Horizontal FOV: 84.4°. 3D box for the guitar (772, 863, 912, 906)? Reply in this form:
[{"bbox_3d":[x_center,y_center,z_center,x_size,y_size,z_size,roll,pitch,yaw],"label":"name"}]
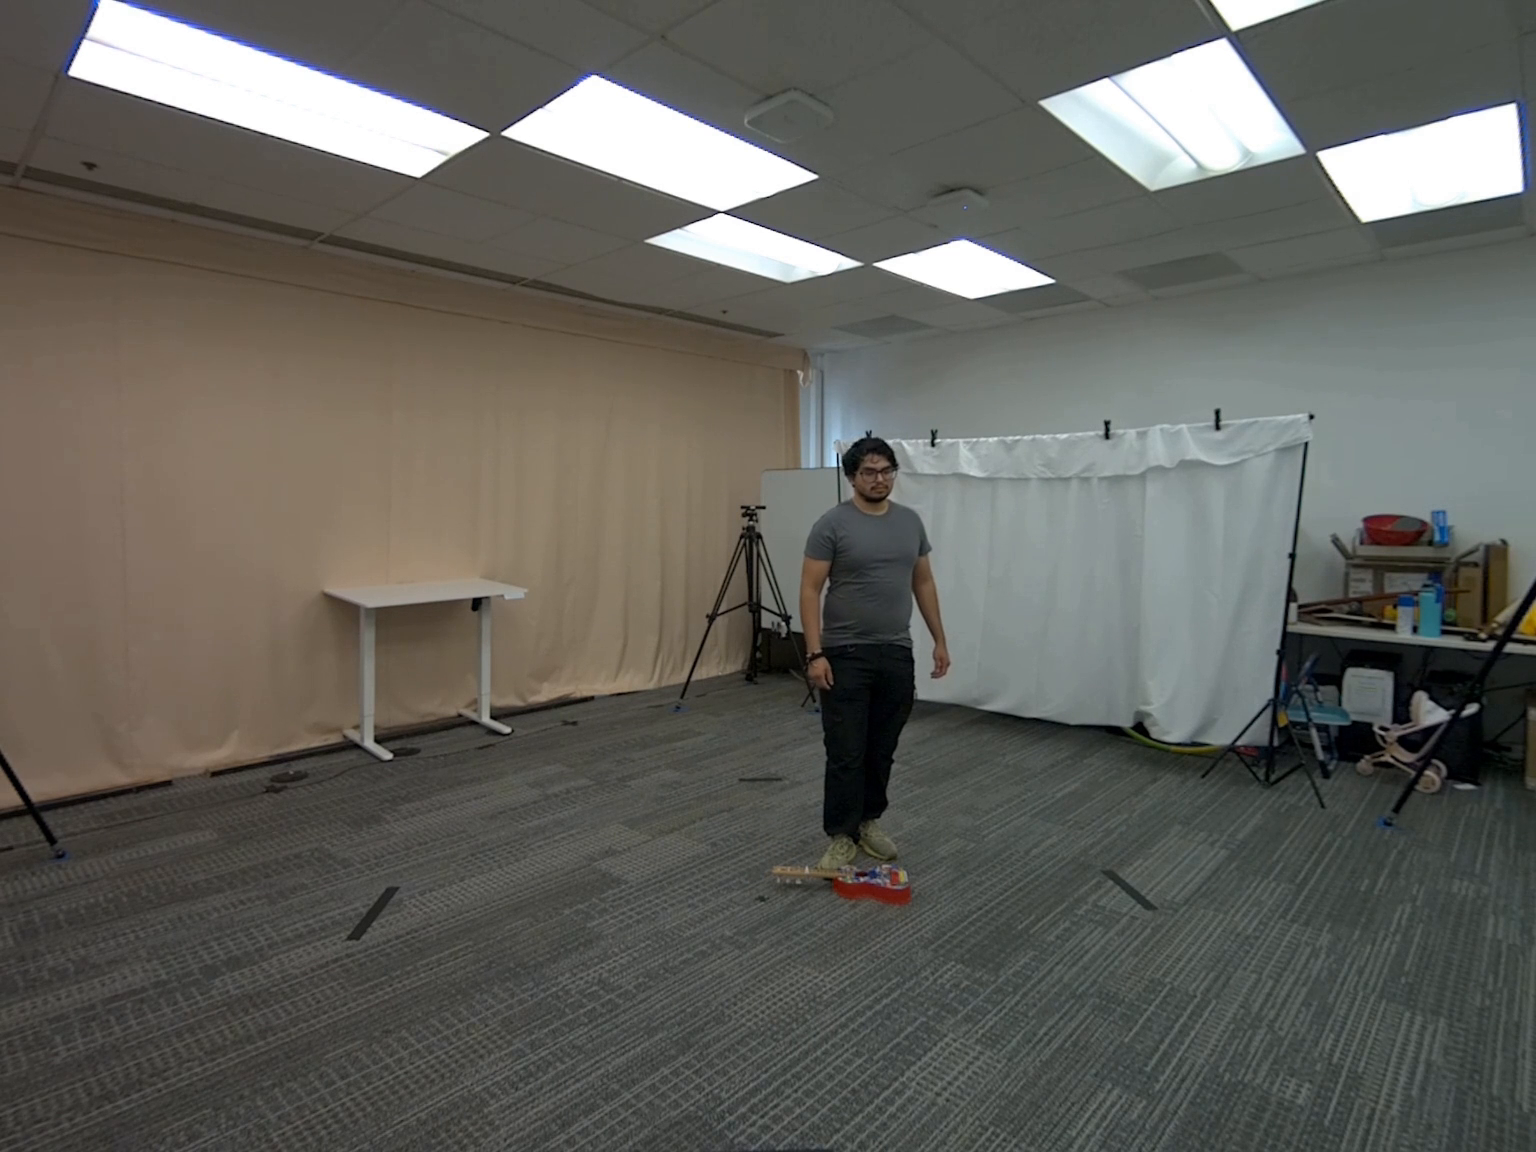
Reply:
[{"bbox_3d":[0.268,1.094,3.079,0.506,0.070,0.190,2,6,15],"label":"guitar"}]
